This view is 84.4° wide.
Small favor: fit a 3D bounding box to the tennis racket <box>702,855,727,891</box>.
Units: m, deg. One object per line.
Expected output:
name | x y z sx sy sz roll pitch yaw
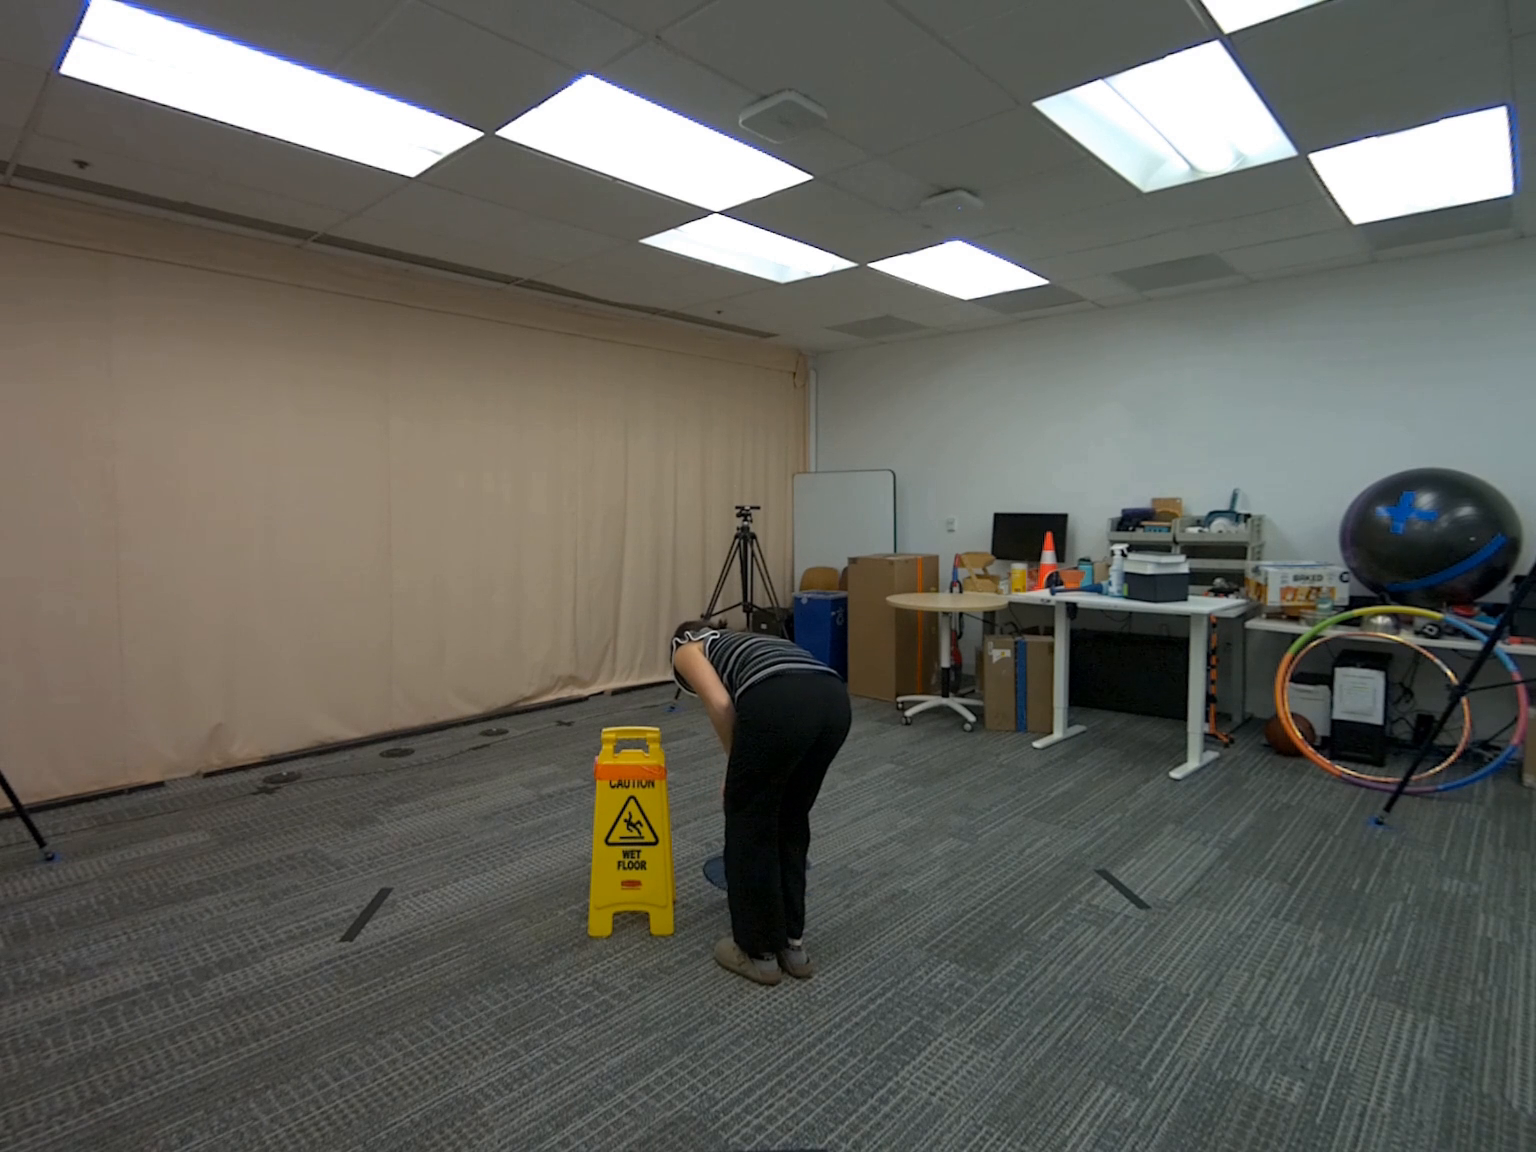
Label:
tennis racket | -0.027 1.021 2.866 0.441 0.209 0.032 -23 25 27
